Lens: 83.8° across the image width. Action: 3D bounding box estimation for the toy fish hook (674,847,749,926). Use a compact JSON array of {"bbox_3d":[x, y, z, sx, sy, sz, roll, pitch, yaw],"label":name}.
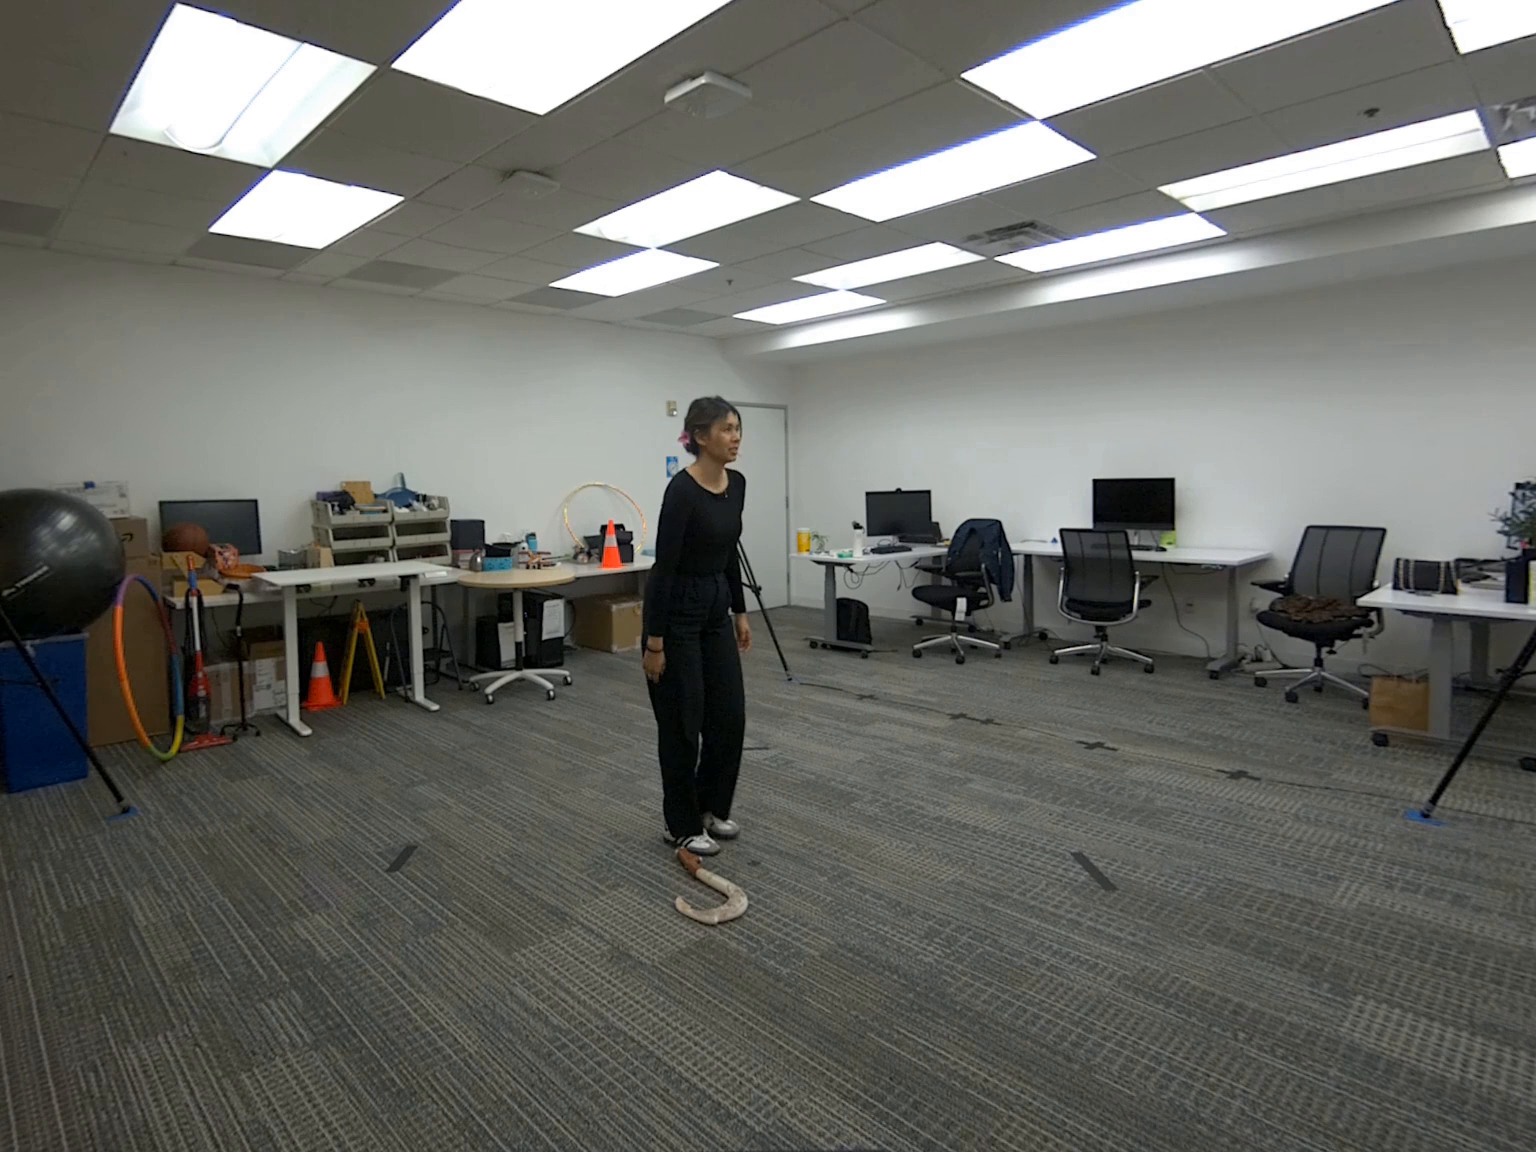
[{"bbox_3d":[-0.251,1.052,2.914,0.219,0.048,0.520,-4,7,-28],"label":"toy fish hook"}]
